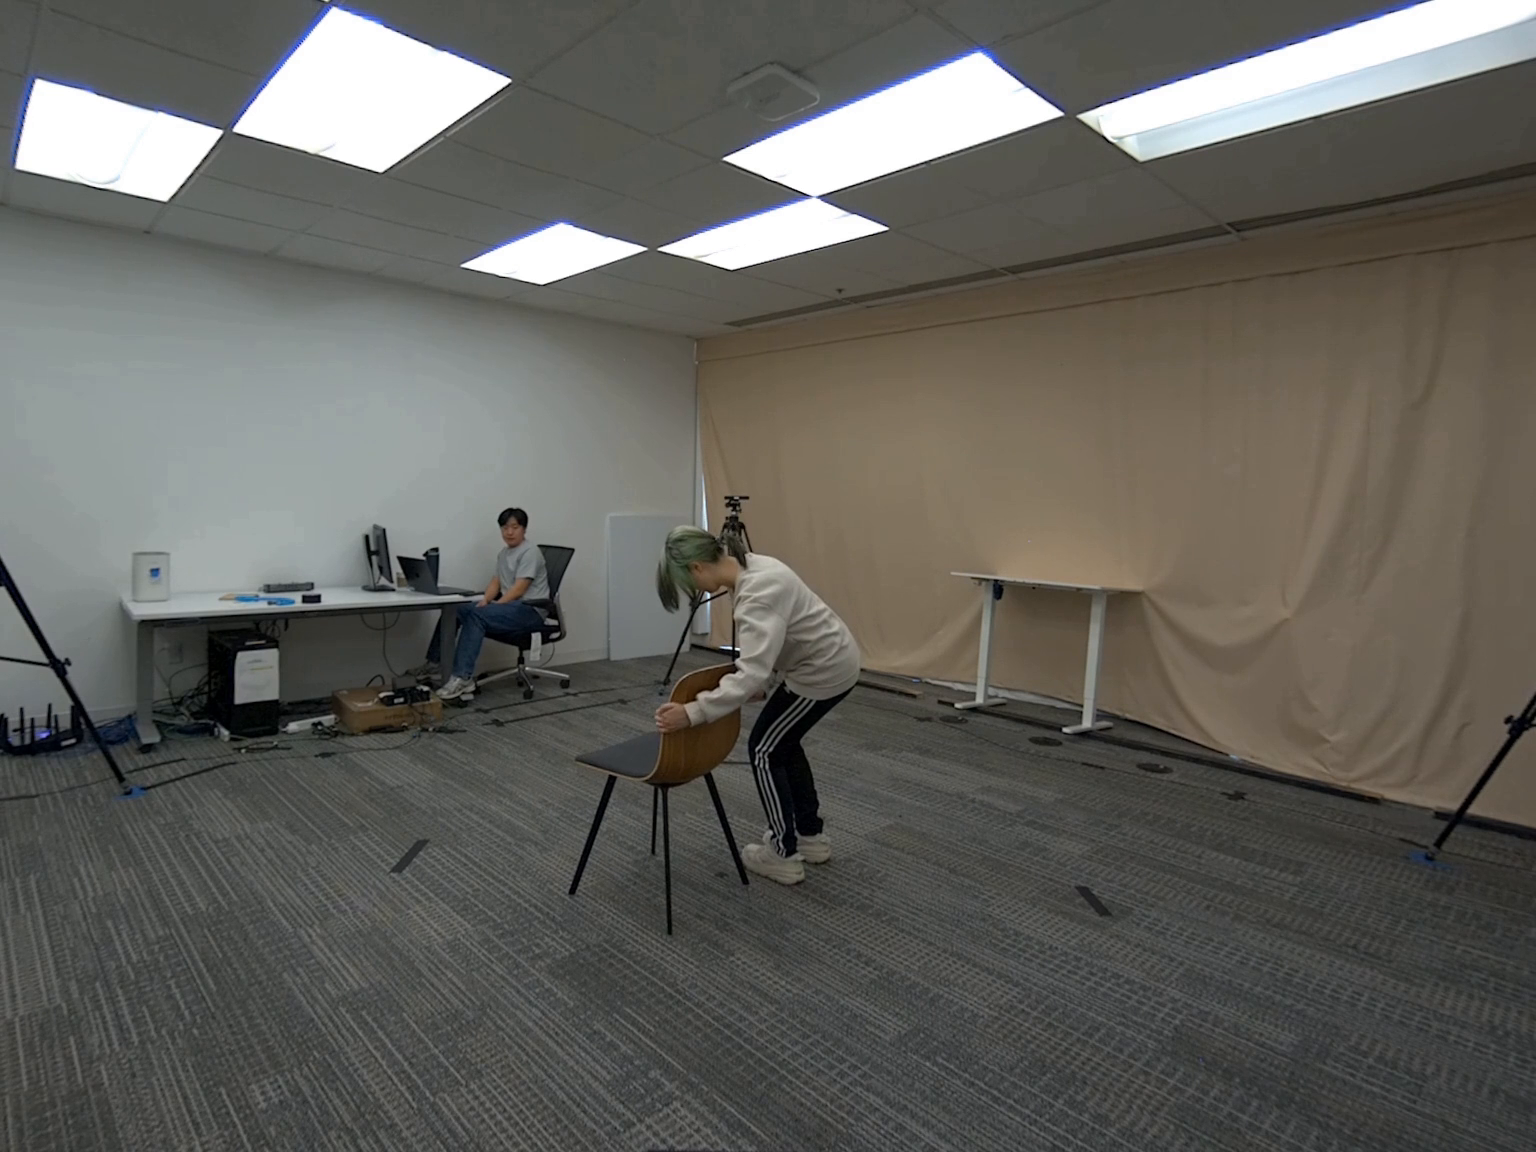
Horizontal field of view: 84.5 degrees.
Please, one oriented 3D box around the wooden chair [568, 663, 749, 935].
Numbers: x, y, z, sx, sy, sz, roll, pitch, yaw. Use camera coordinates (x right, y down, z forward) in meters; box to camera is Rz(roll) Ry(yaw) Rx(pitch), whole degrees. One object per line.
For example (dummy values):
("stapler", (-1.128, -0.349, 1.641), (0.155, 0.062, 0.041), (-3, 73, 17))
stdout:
("wooden chair", (-0.385, 0.684, 2.948), (0.536, 0.874, 0.468), (8, 7, 34))
